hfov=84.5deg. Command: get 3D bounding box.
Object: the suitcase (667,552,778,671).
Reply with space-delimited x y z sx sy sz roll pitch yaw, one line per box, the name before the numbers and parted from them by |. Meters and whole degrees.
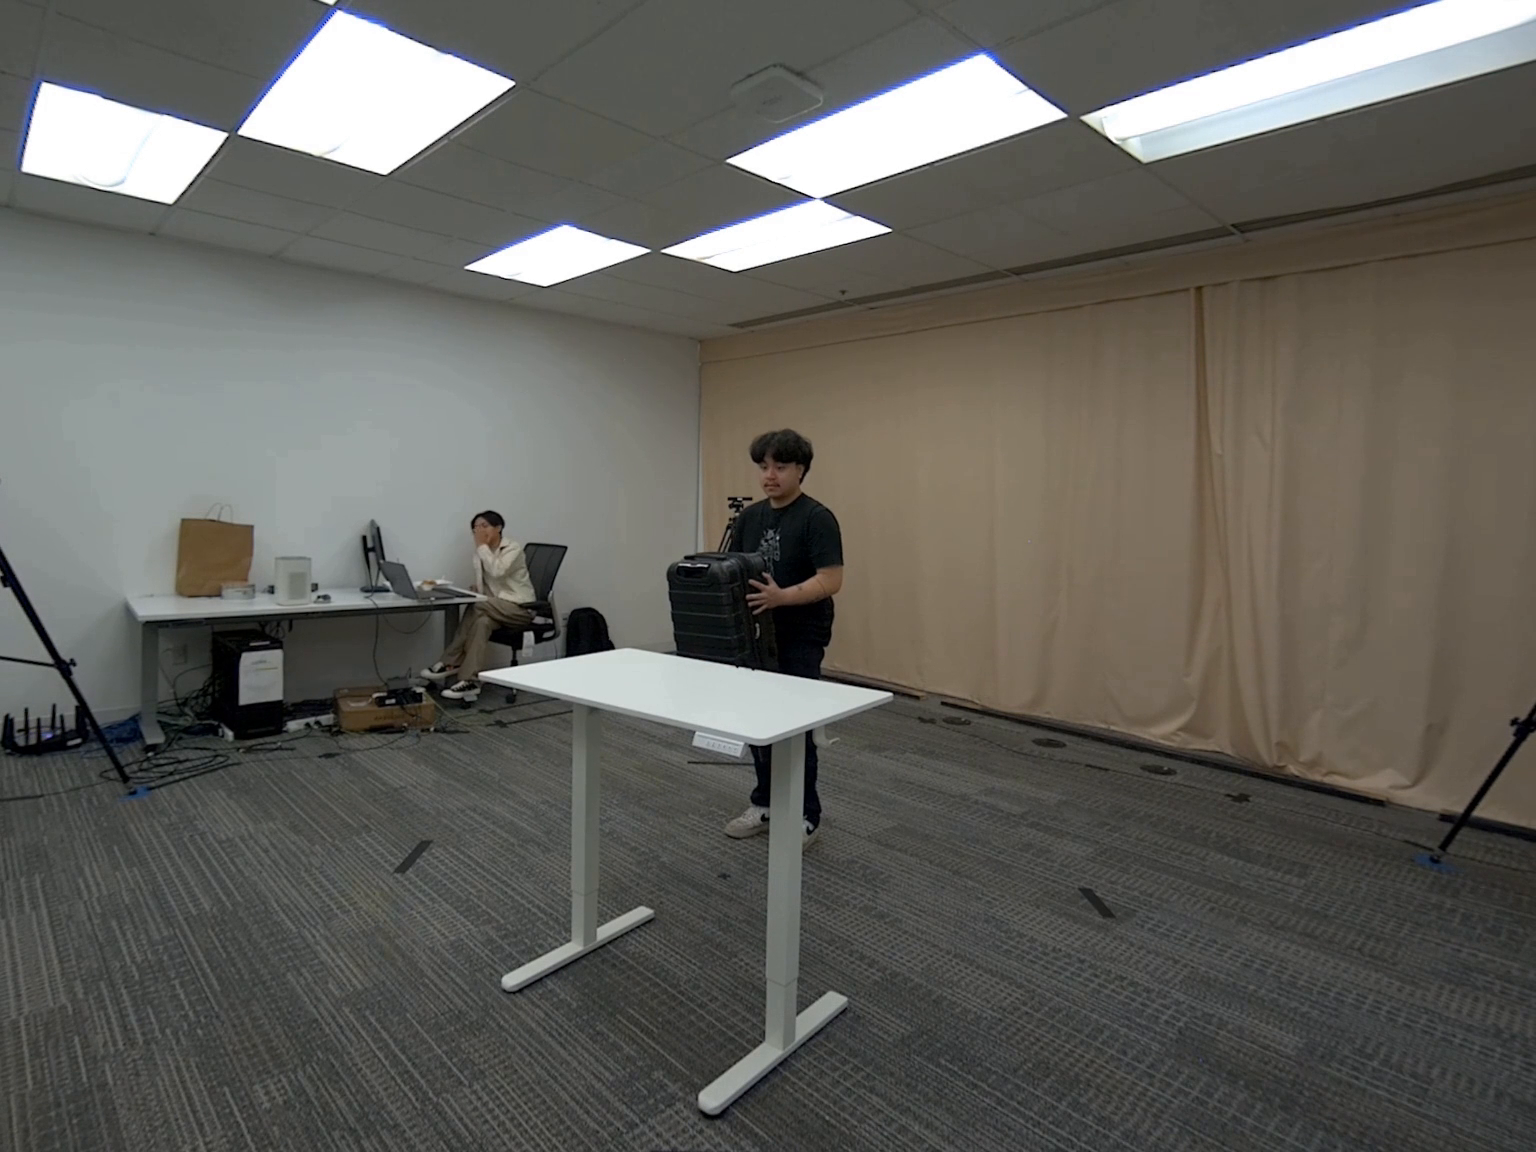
suitcase | -0.183 0.183 3.209 0.384 0.546 0.244 0 10 42
